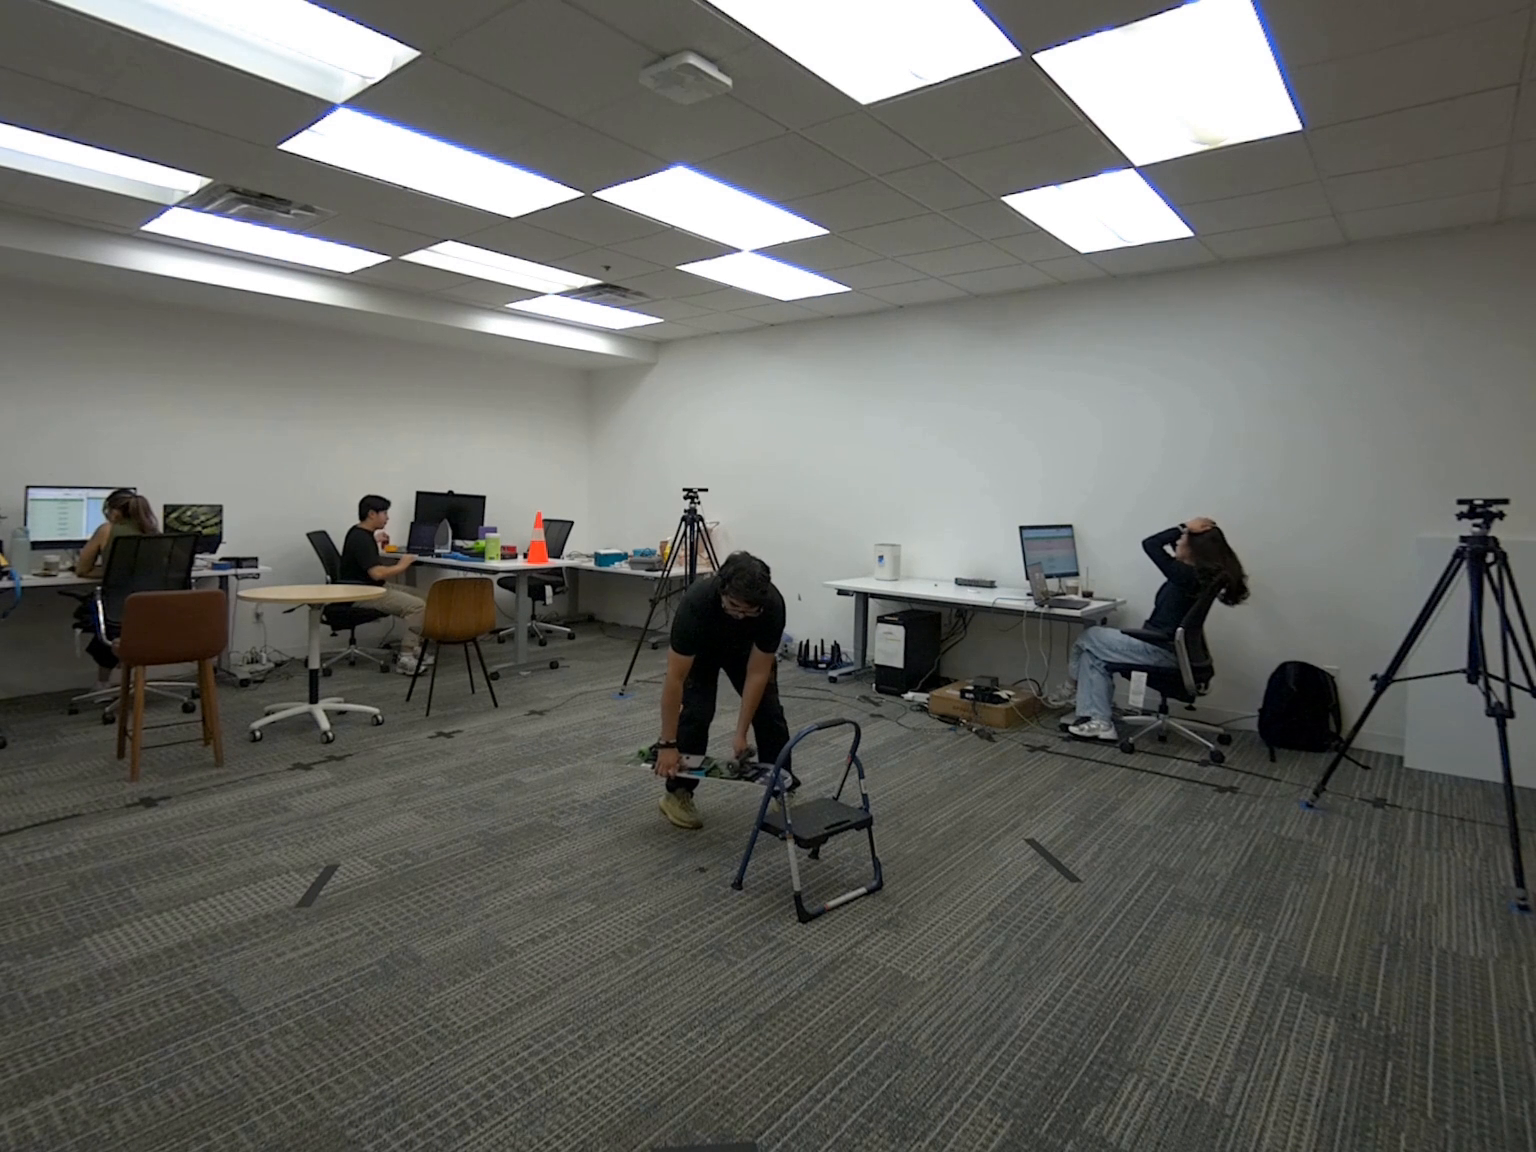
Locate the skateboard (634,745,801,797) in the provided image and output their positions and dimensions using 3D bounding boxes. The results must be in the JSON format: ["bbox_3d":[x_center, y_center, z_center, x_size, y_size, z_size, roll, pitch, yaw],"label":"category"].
[{"bbox_3d":[-0.297,0.728,3.355,0.805,0.109,0.190,-1,8,26],"label":"skateboard"}]
